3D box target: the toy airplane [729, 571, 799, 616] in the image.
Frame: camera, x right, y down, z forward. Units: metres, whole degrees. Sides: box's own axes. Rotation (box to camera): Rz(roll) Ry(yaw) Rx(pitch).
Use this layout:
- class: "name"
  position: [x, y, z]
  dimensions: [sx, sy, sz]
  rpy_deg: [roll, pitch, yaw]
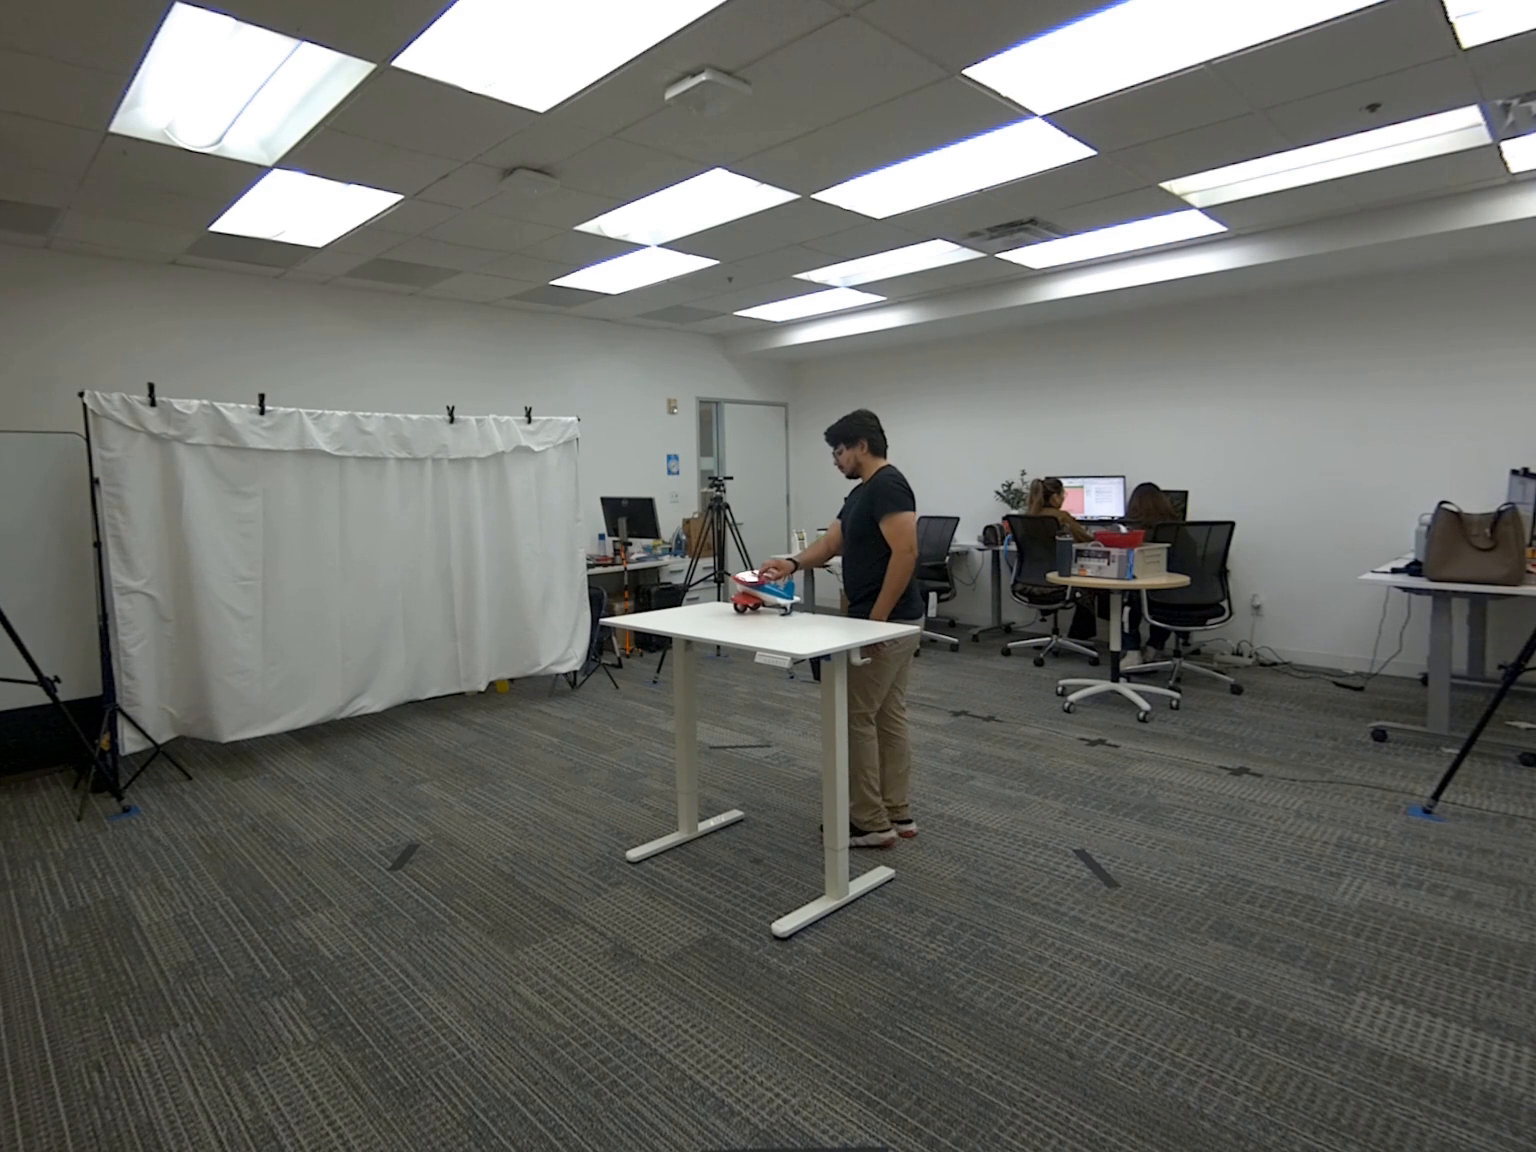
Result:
- class: "toy airplane"
  position: [-0.001, 0.062, 3.241]
  dimensions: [0.261, 0.156, 0.250]
  rpy_deg: [-1, 5, 8]
